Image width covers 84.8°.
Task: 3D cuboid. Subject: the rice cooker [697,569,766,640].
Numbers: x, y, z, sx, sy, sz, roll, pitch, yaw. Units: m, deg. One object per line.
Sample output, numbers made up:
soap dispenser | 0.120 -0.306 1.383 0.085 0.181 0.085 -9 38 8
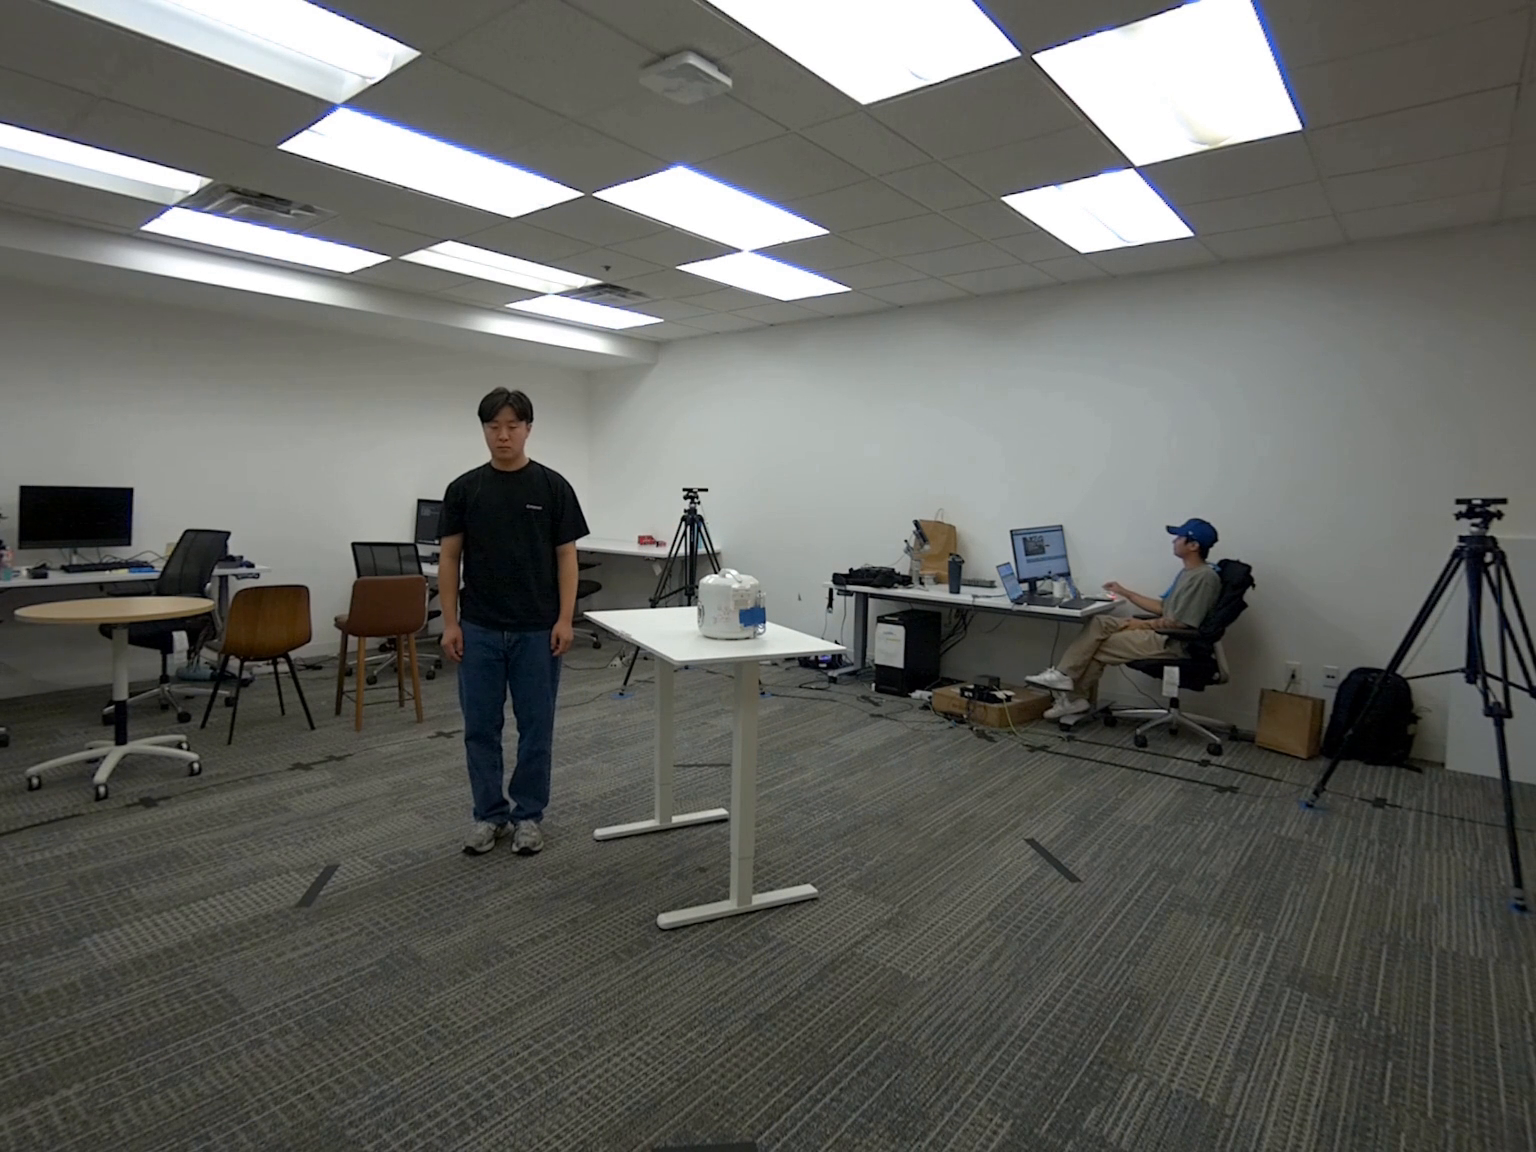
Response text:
rice cooker | -0.144 0.090 2.938 0.212 0.232 0.226 -1 4 -24
